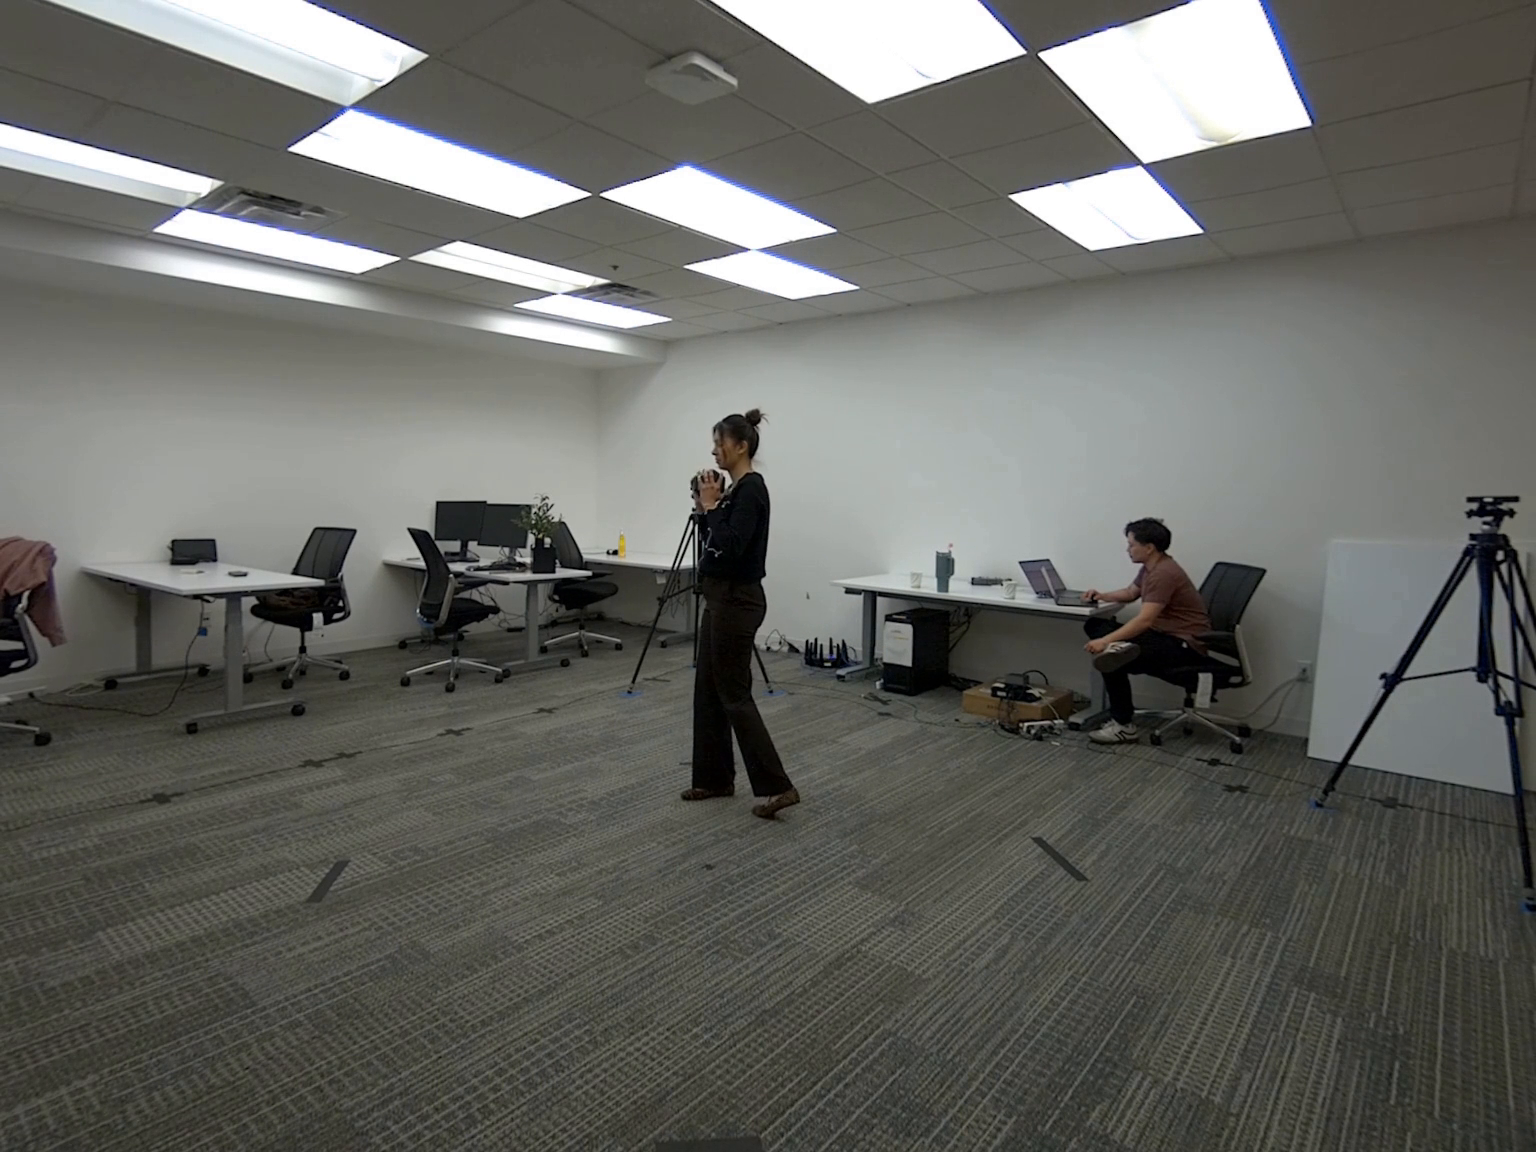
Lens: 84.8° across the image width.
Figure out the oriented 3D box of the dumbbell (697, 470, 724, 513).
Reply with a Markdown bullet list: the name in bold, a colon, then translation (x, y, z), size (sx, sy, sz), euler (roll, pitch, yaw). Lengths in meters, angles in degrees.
- **dumbbell**: translation (-0.285, -0.397, 3.784), size (0.120, 0.108, 0.301), euler (23, 16, -18)
